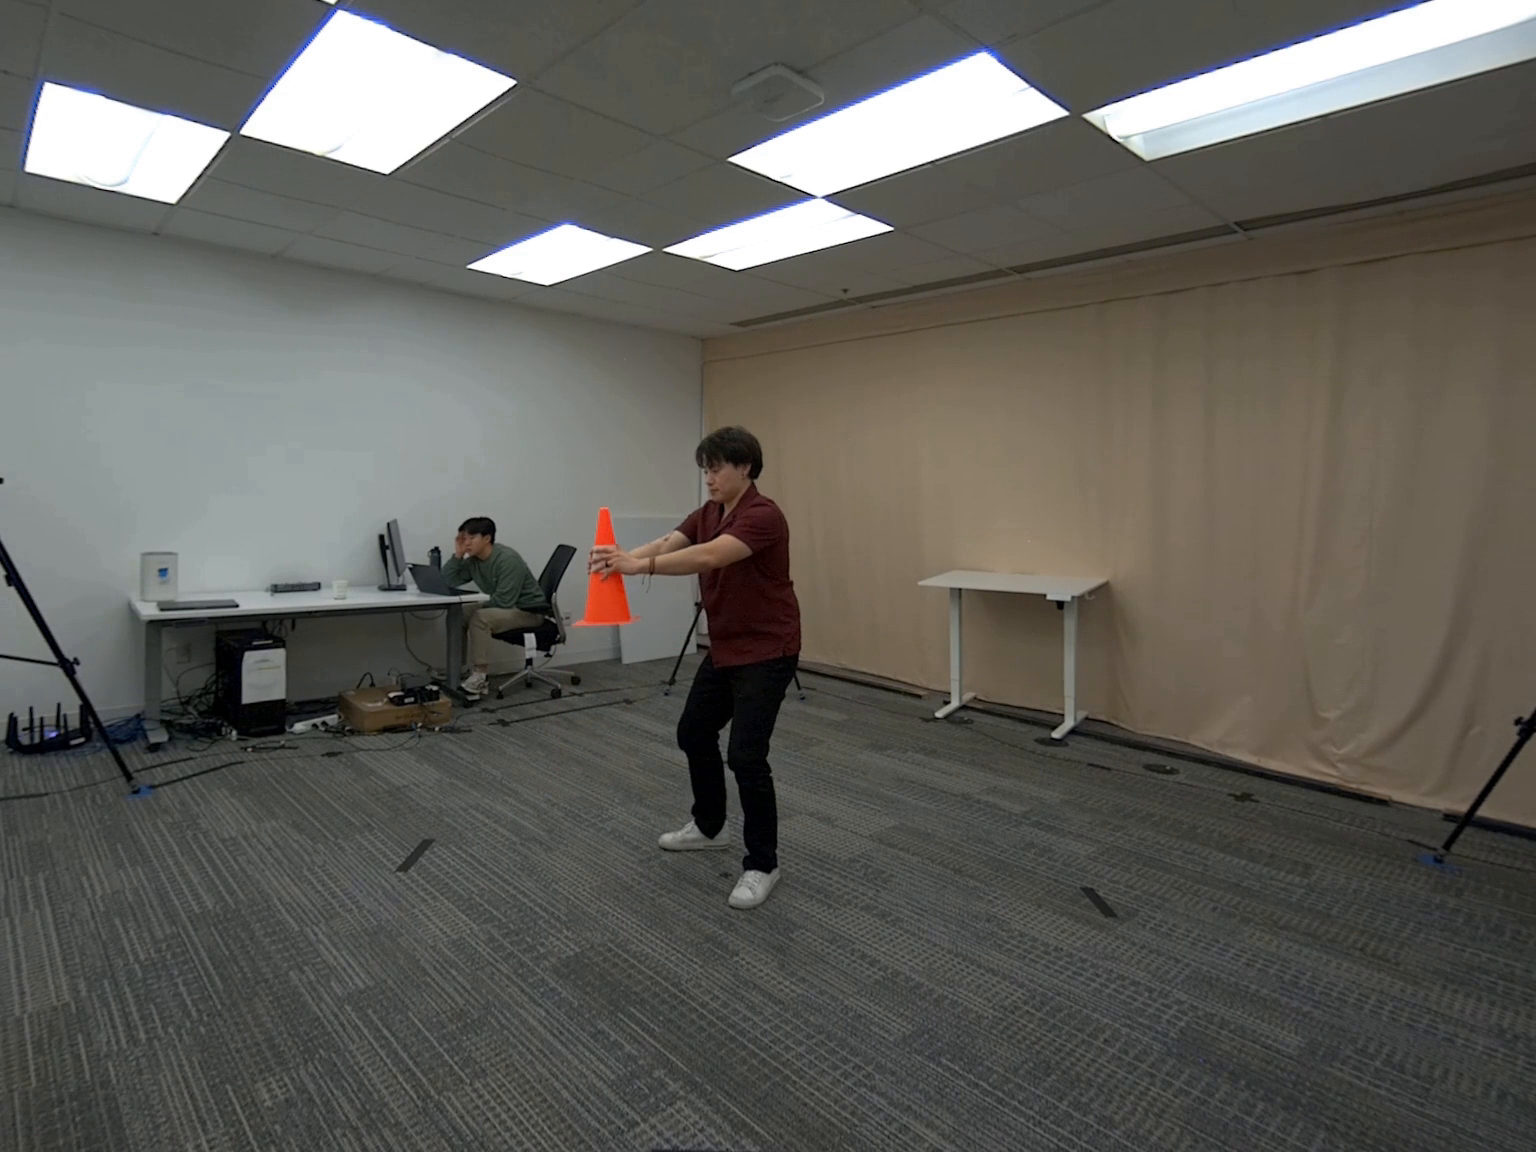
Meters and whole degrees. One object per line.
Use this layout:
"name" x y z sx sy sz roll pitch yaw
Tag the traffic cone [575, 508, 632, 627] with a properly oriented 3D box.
"traffic cone" -0.562 -0.029 2.832 0.205 0.384 0.203 -2 0 0
